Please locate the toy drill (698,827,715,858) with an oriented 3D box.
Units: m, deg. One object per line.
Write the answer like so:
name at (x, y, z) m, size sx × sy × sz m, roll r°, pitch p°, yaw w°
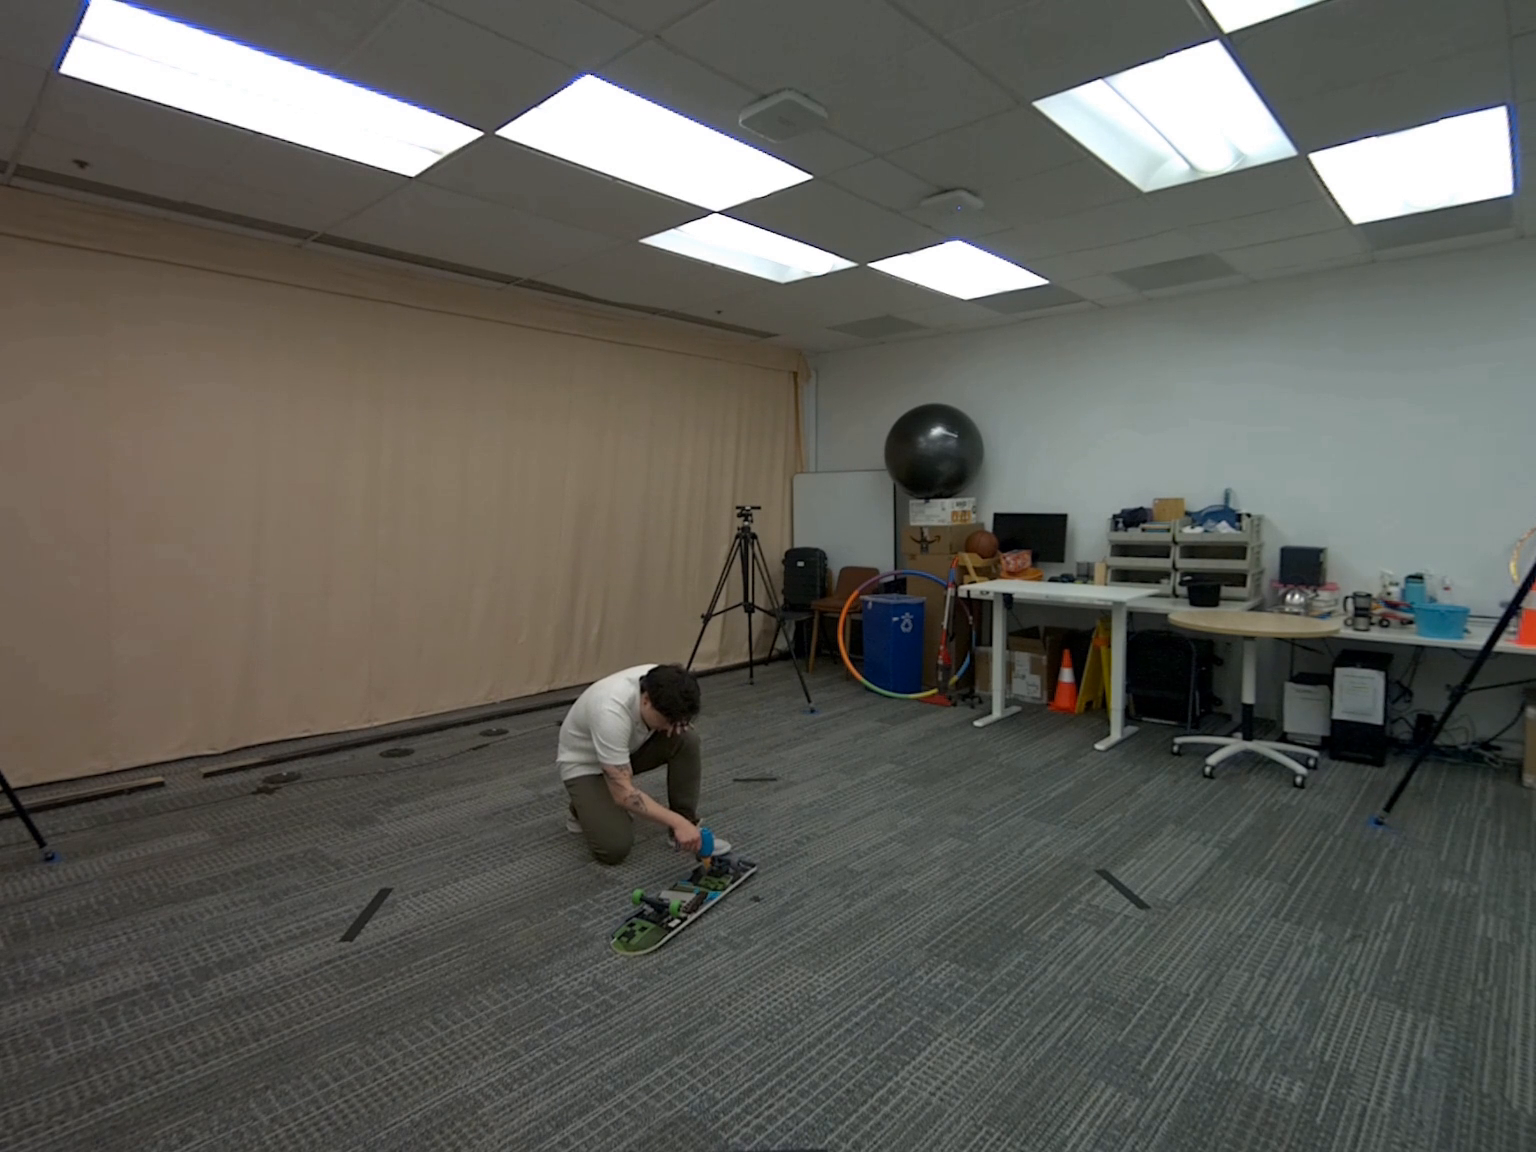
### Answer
toy drill at (-0.262, 1.004, 3.088) m, size 0.146 × 0.168 × 0.061 m, roll 0°, pitch 16°, yaw 3°
